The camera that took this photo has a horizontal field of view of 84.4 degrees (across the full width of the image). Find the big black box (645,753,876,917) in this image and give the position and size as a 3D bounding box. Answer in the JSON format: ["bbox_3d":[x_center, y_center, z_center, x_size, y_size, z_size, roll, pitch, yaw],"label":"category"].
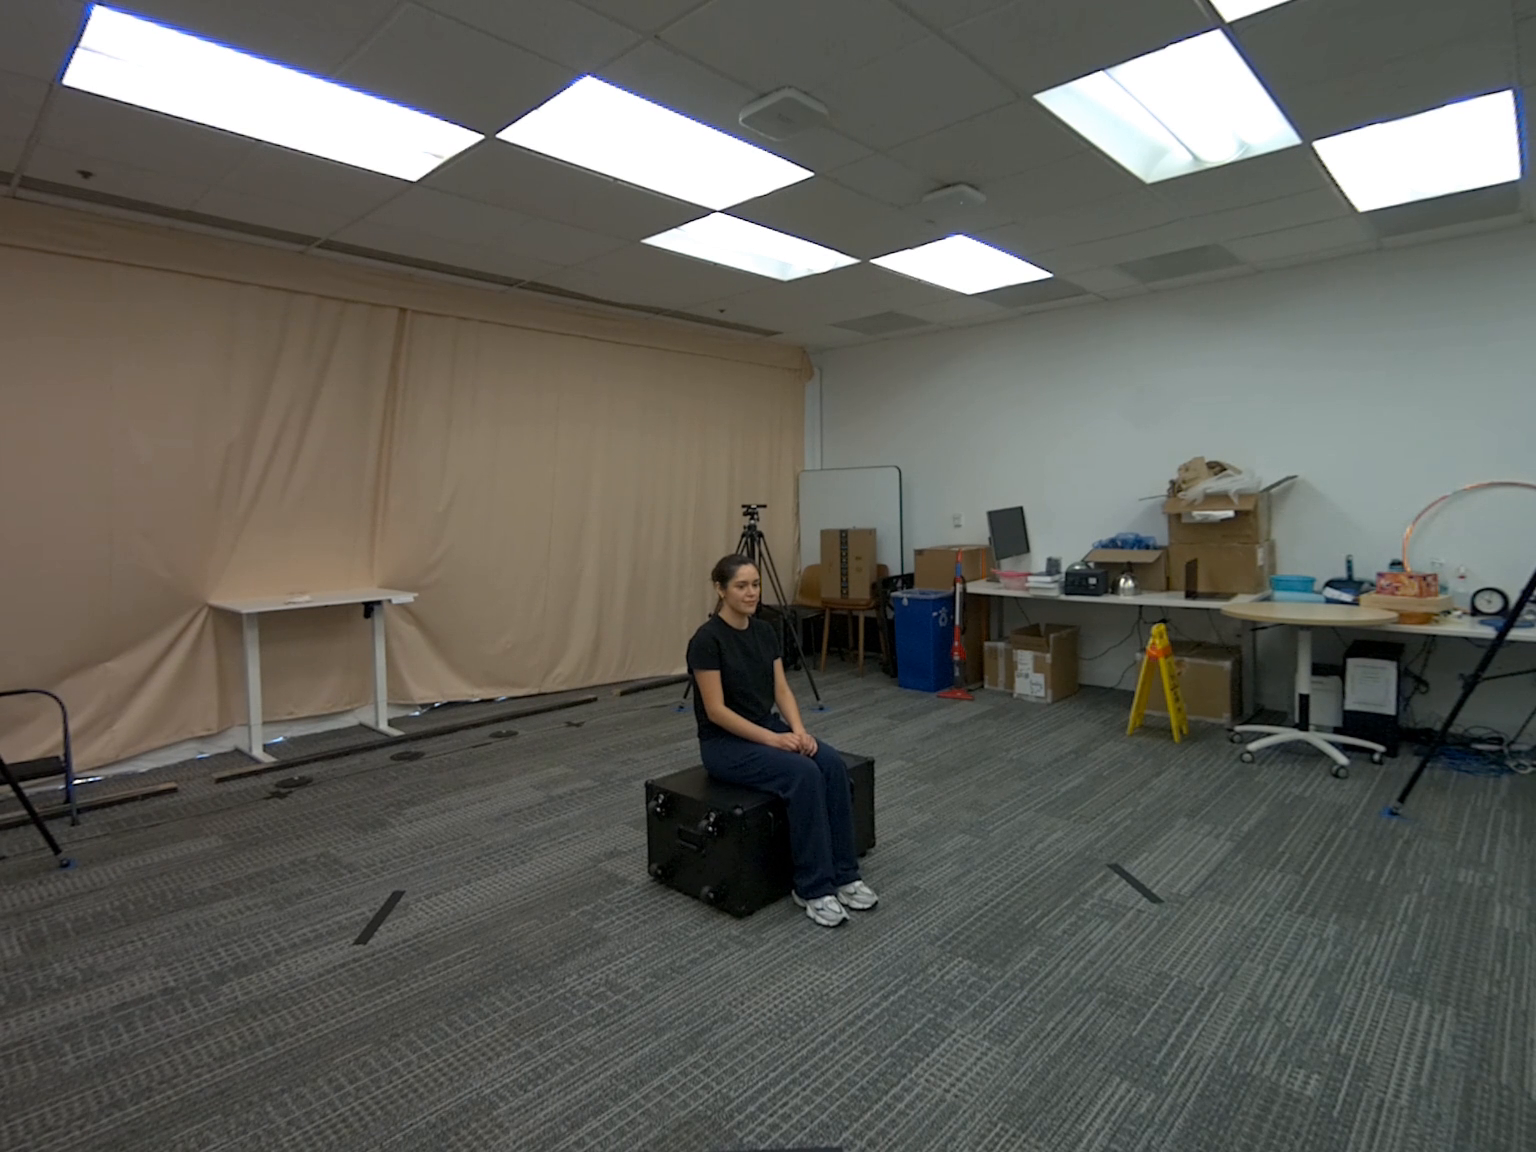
[{"bbox_3d":[-0.022,0.932,3.216,0.538,0.395,0.835,2,5,43],"label":"big black box"}]
